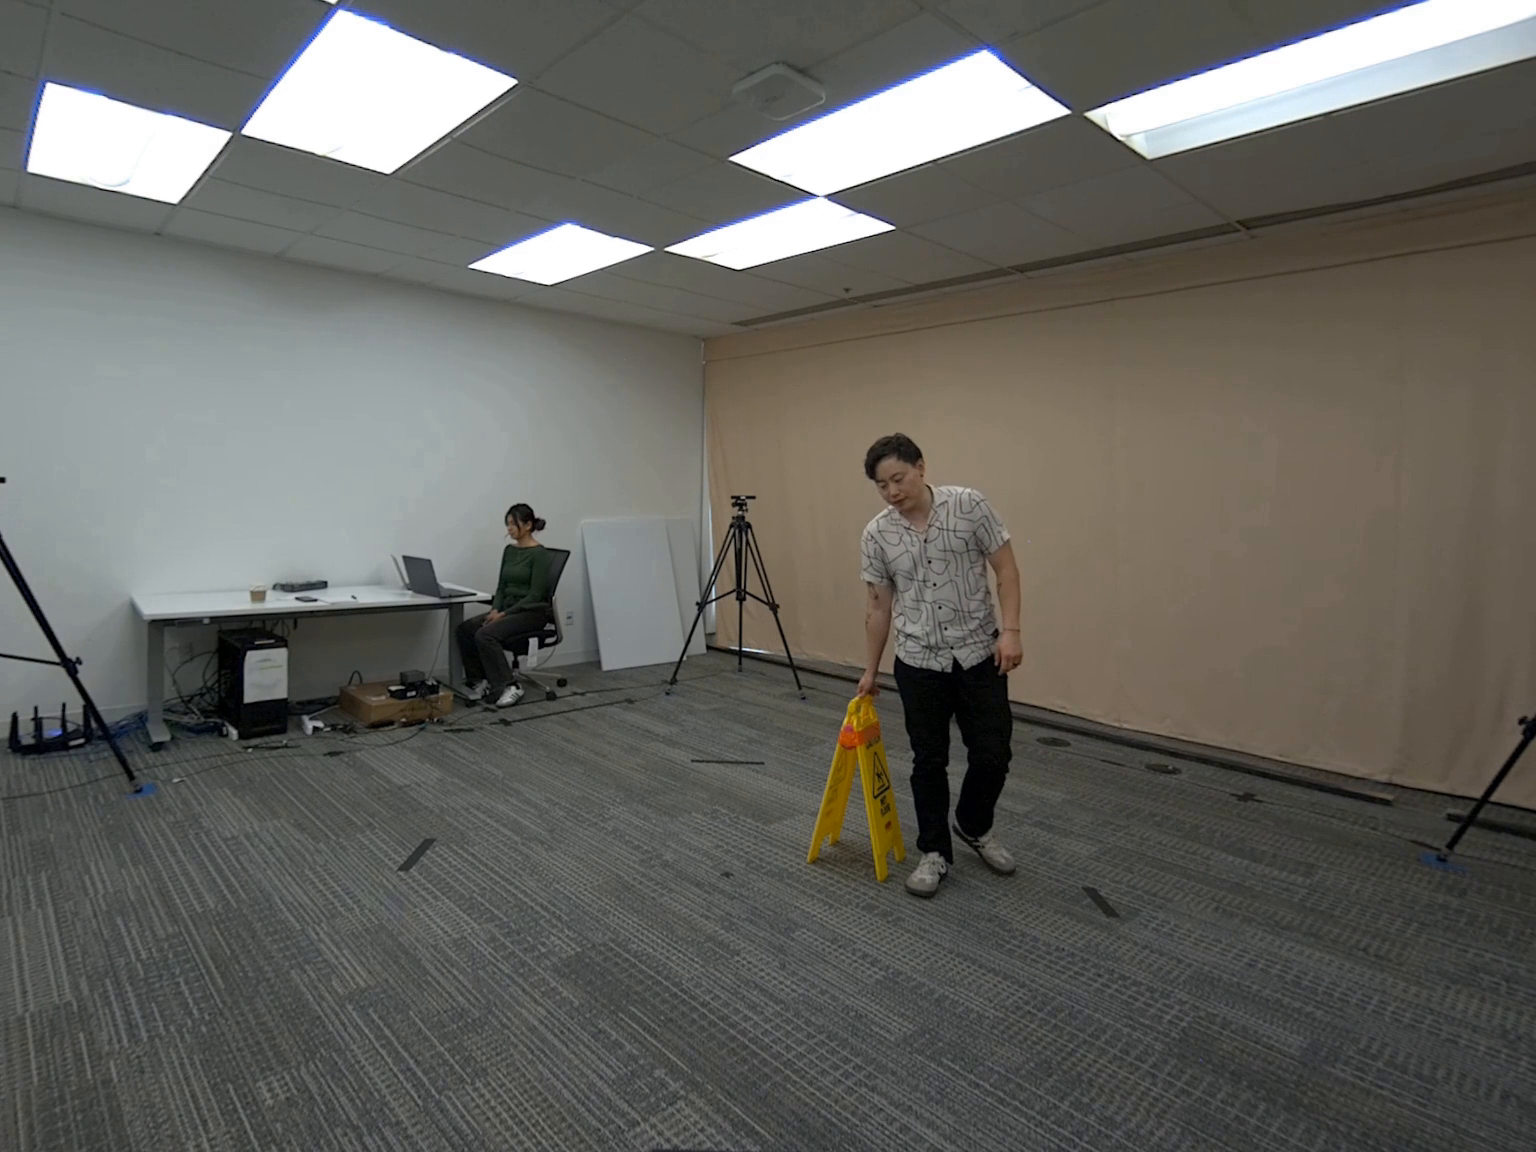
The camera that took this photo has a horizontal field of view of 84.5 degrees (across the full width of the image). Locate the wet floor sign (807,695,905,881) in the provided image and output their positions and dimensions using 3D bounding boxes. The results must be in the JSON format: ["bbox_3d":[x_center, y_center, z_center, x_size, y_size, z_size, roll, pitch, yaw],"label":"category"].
[{"bbox_3d":[0.341,0.776,3.244,0.296,0.645,0.276,2,2,29],"label":"wet floor sign"}]
